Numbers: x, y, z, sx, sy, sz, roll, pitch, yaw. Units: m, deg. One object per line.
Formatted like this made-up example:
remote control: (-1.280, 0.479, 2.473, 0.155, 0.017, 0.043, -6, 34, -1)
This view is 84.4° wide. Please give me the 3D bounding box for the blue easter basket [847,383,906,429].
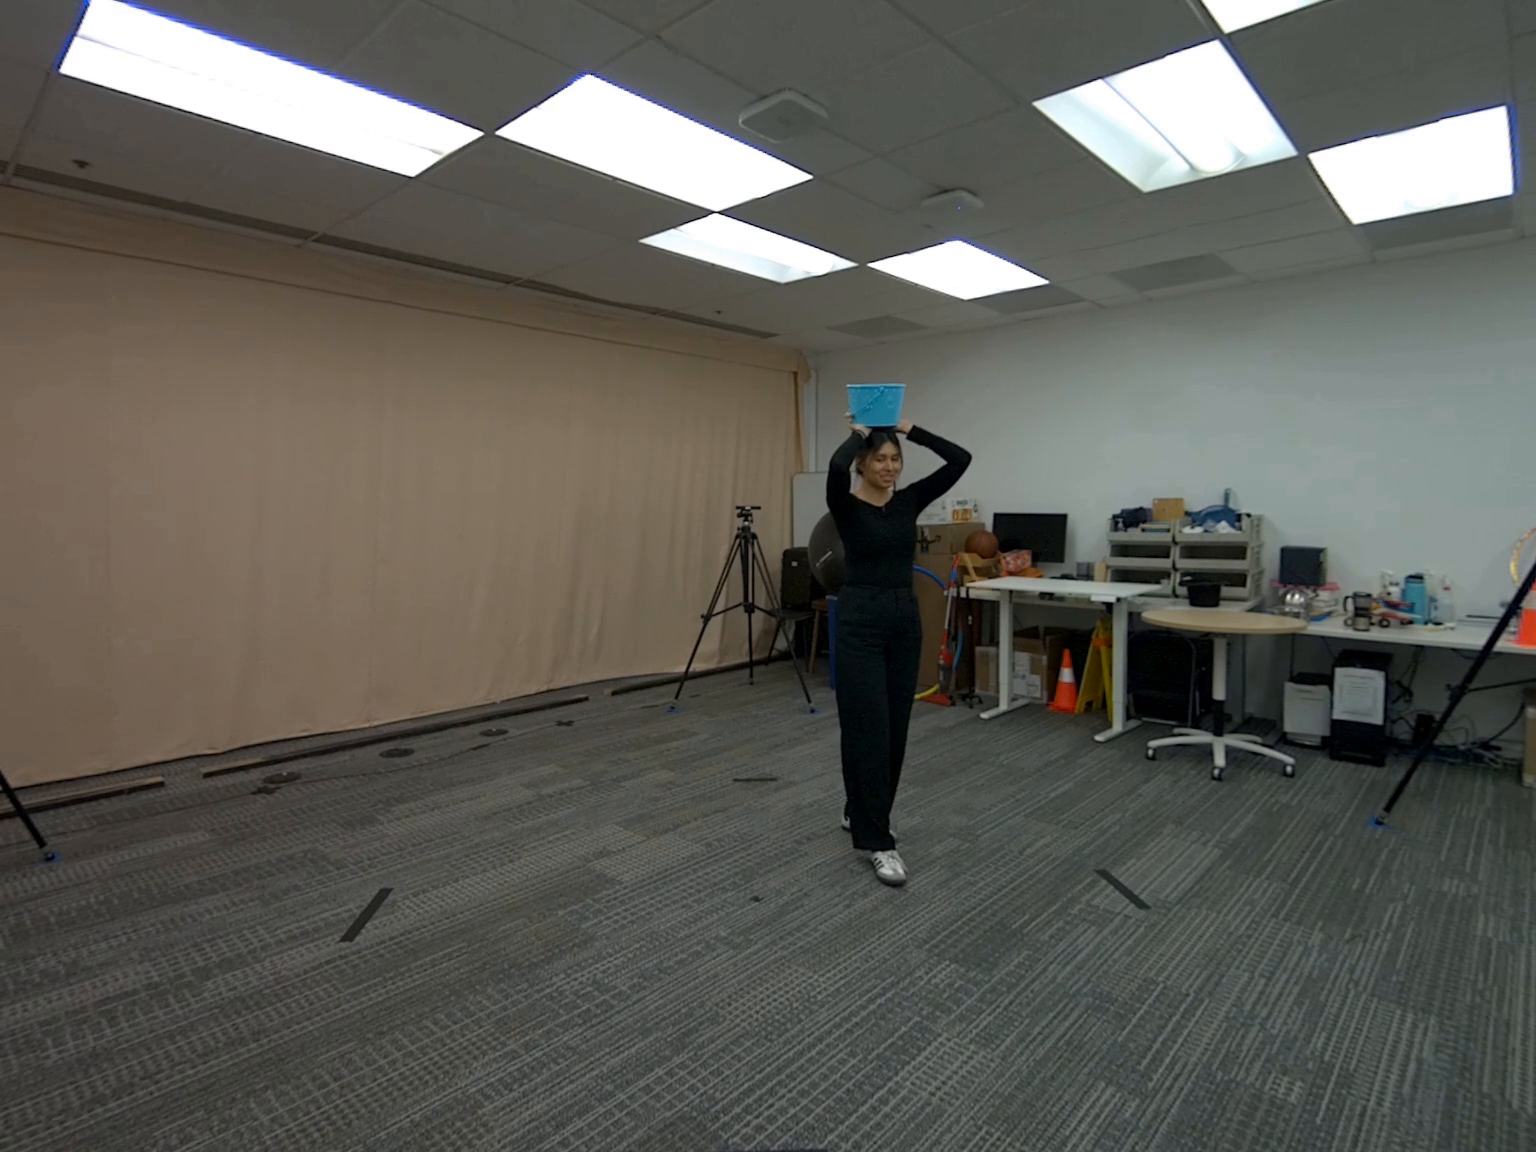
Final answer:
blue easter basket: (0.424, -0.675, 3.313, 0.243, 0.154, 0.246, 0, 13, -2)
